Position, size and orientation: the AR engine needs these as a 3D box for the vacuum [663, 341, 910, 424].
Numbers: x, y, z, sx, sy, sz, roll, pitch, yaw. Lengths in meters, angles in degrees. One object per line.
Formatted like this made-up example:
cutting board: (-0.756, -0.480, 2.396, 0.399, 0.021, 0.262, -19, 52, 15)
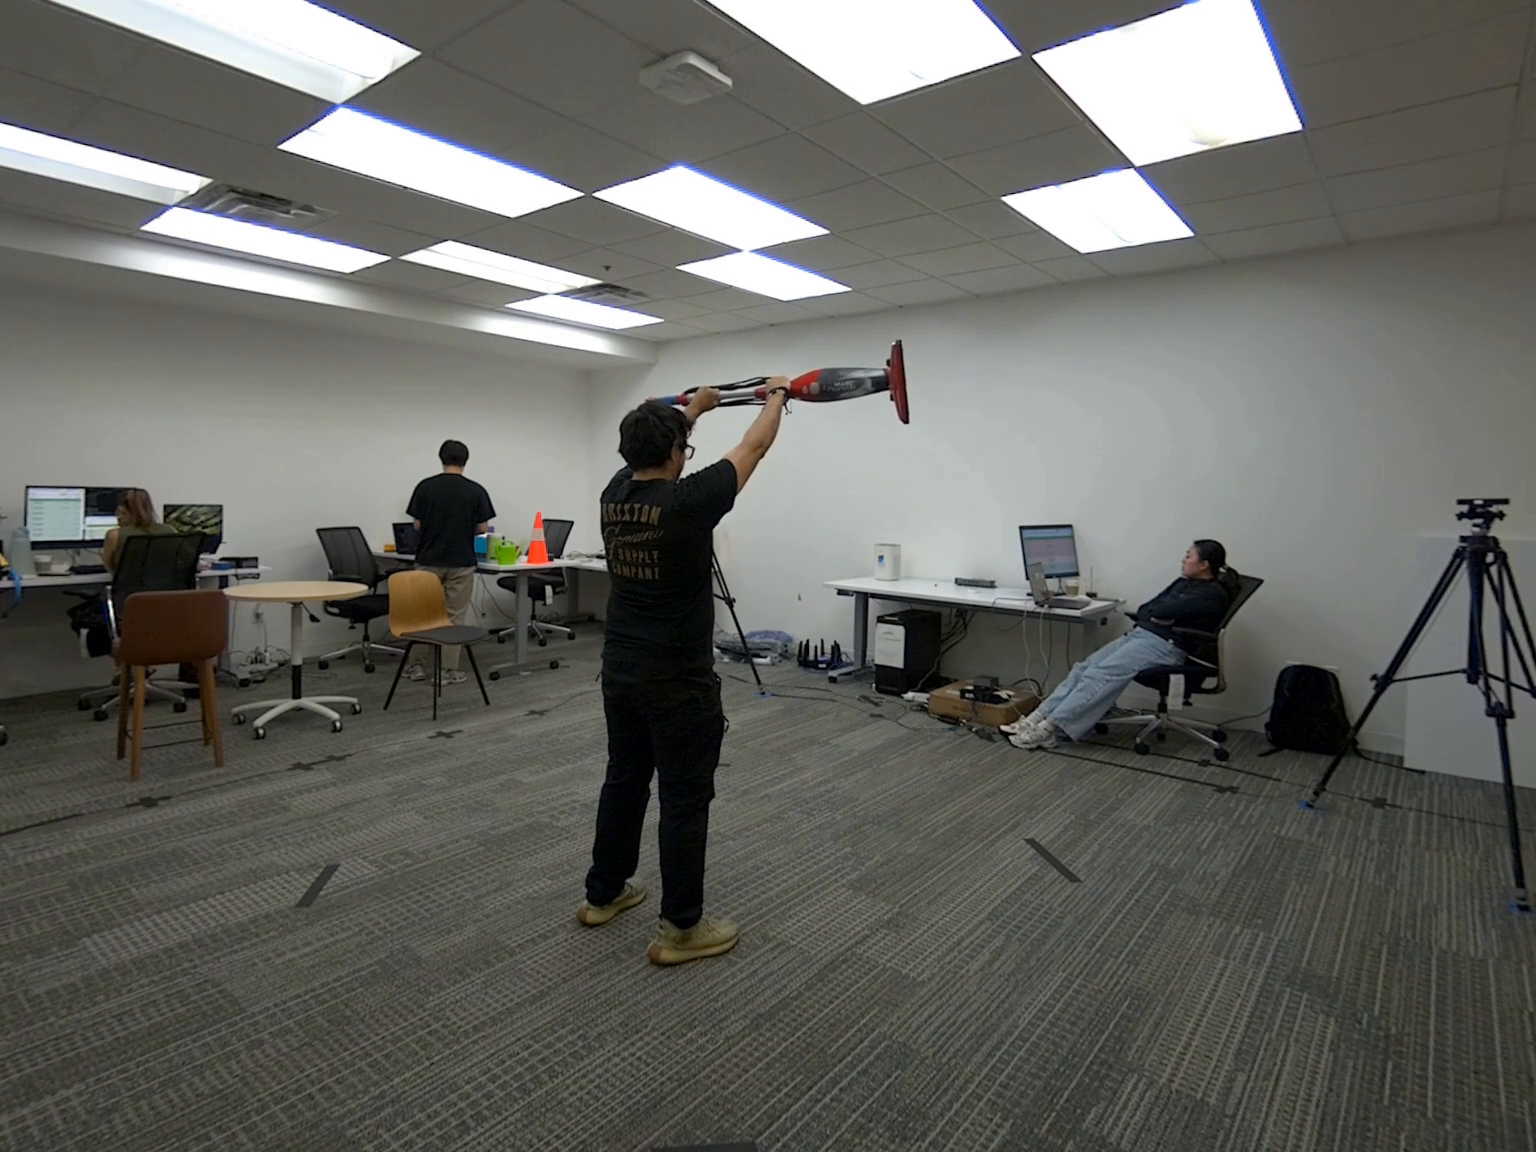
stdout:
vacuum: (-0.030, -0.639, 2.923, 1.083, 0.247, 0.142, 4, 24, 35)
